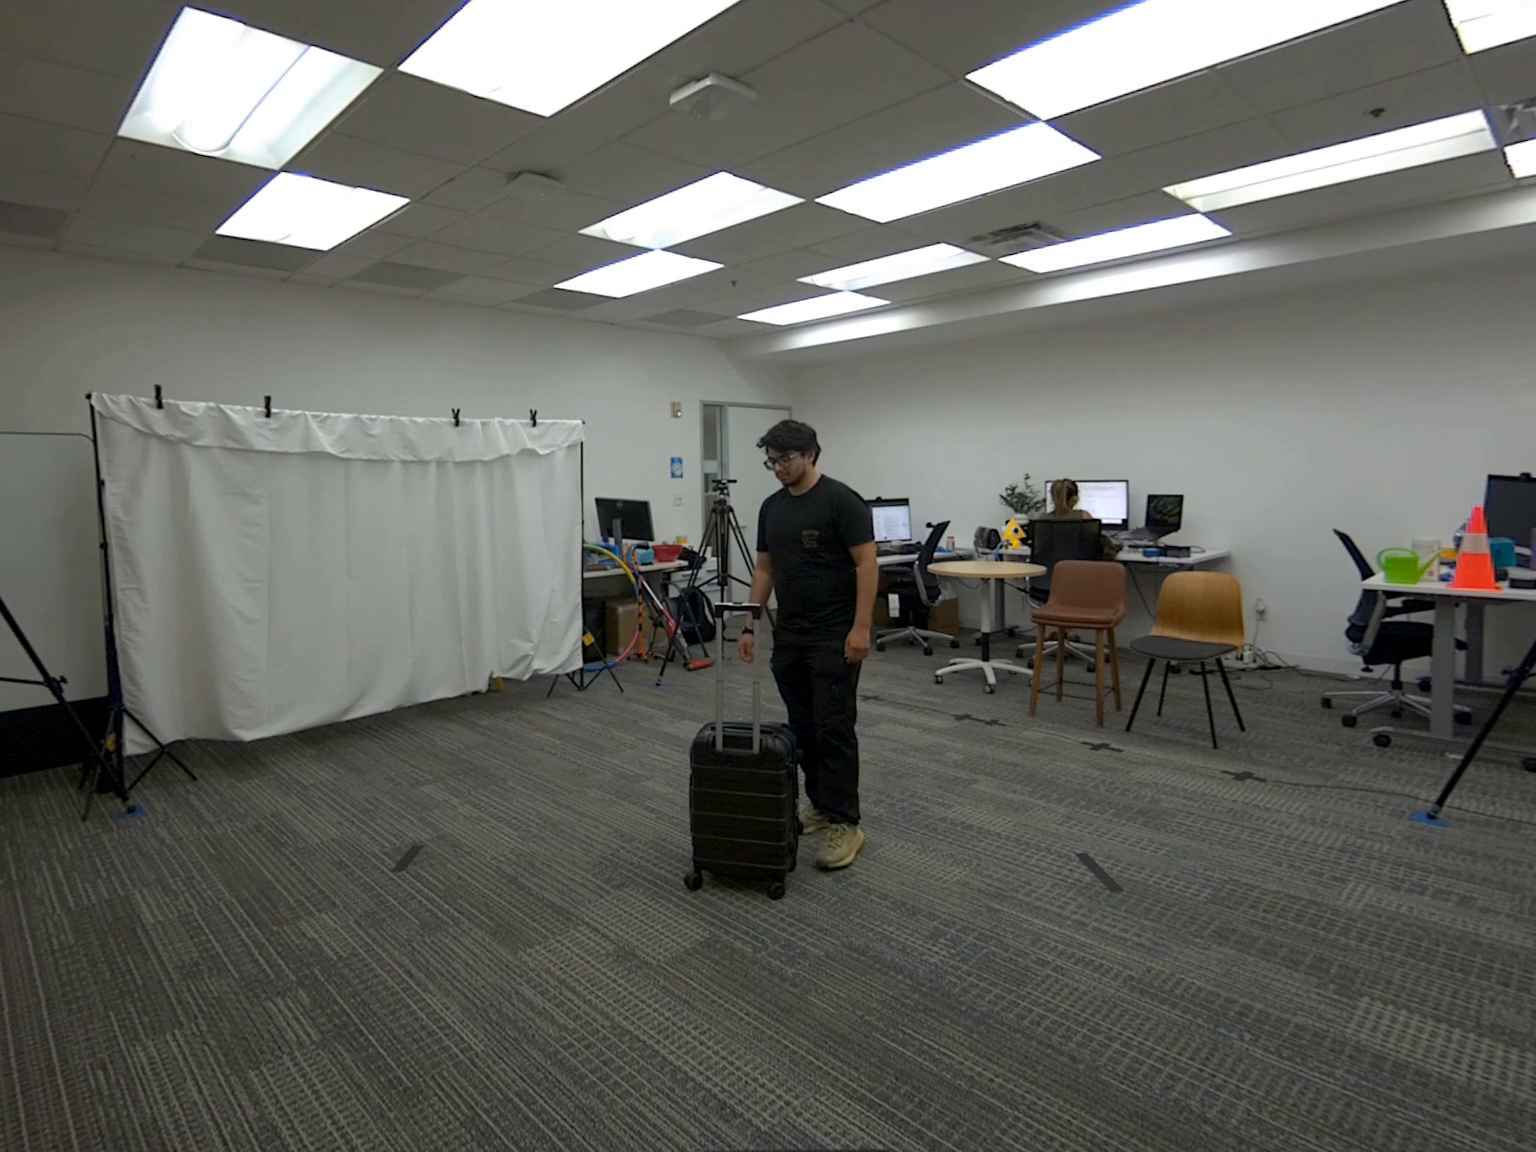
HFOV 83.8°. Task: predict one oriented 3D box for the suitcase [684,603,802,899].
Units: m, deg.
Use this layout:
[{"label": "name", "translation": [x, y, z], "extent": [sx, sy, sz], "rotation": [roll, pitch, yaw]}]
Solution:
[{"label": "suitcase", "translation": [-0.080, 0.584, 2.984], "extent": [0.390, 0.978, 0.253], "rotation": [1, 1, 14]}]
